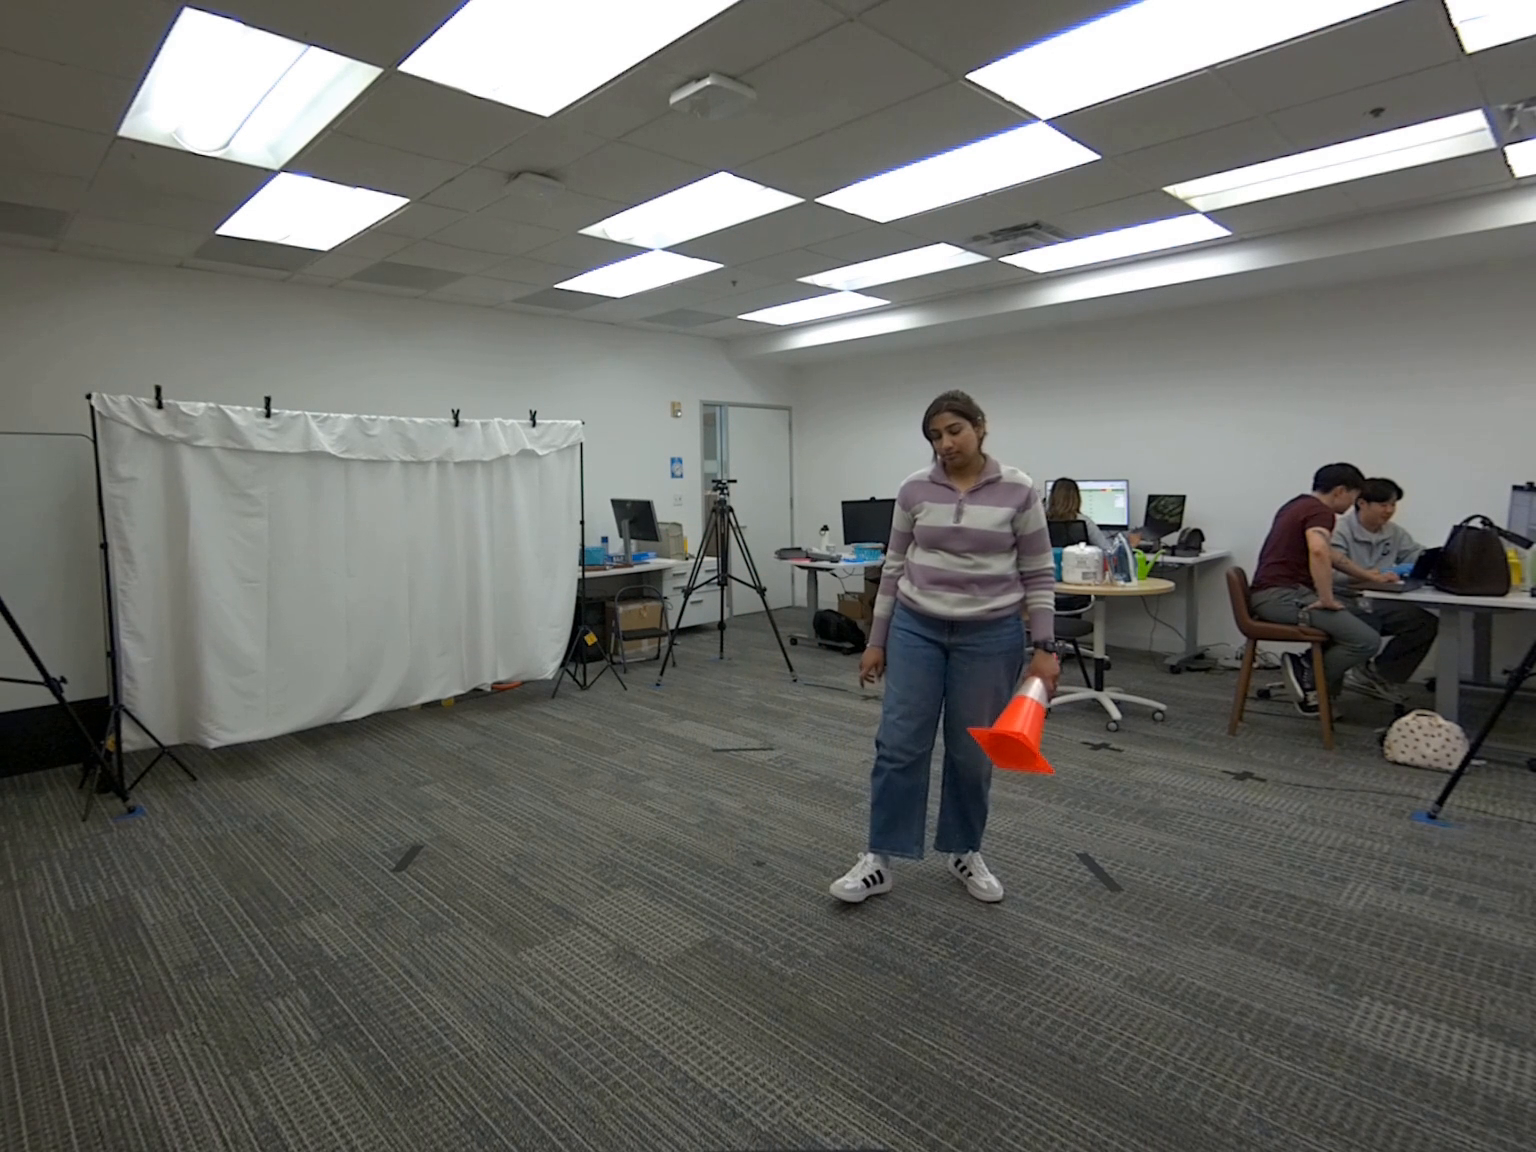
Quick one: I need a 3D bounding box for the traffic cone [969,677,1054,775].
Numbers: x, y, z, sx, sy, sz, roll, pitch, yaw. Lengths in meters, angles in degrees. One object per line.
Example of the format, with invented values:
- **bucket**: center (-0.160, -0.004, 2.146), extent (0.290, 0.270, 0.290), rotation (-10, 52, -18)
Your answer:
- **traffic cone**: center (0.809, 0.389, 2.638), extent (0.210, 0.198, 0.385), rotation (-11, 36, 47)
